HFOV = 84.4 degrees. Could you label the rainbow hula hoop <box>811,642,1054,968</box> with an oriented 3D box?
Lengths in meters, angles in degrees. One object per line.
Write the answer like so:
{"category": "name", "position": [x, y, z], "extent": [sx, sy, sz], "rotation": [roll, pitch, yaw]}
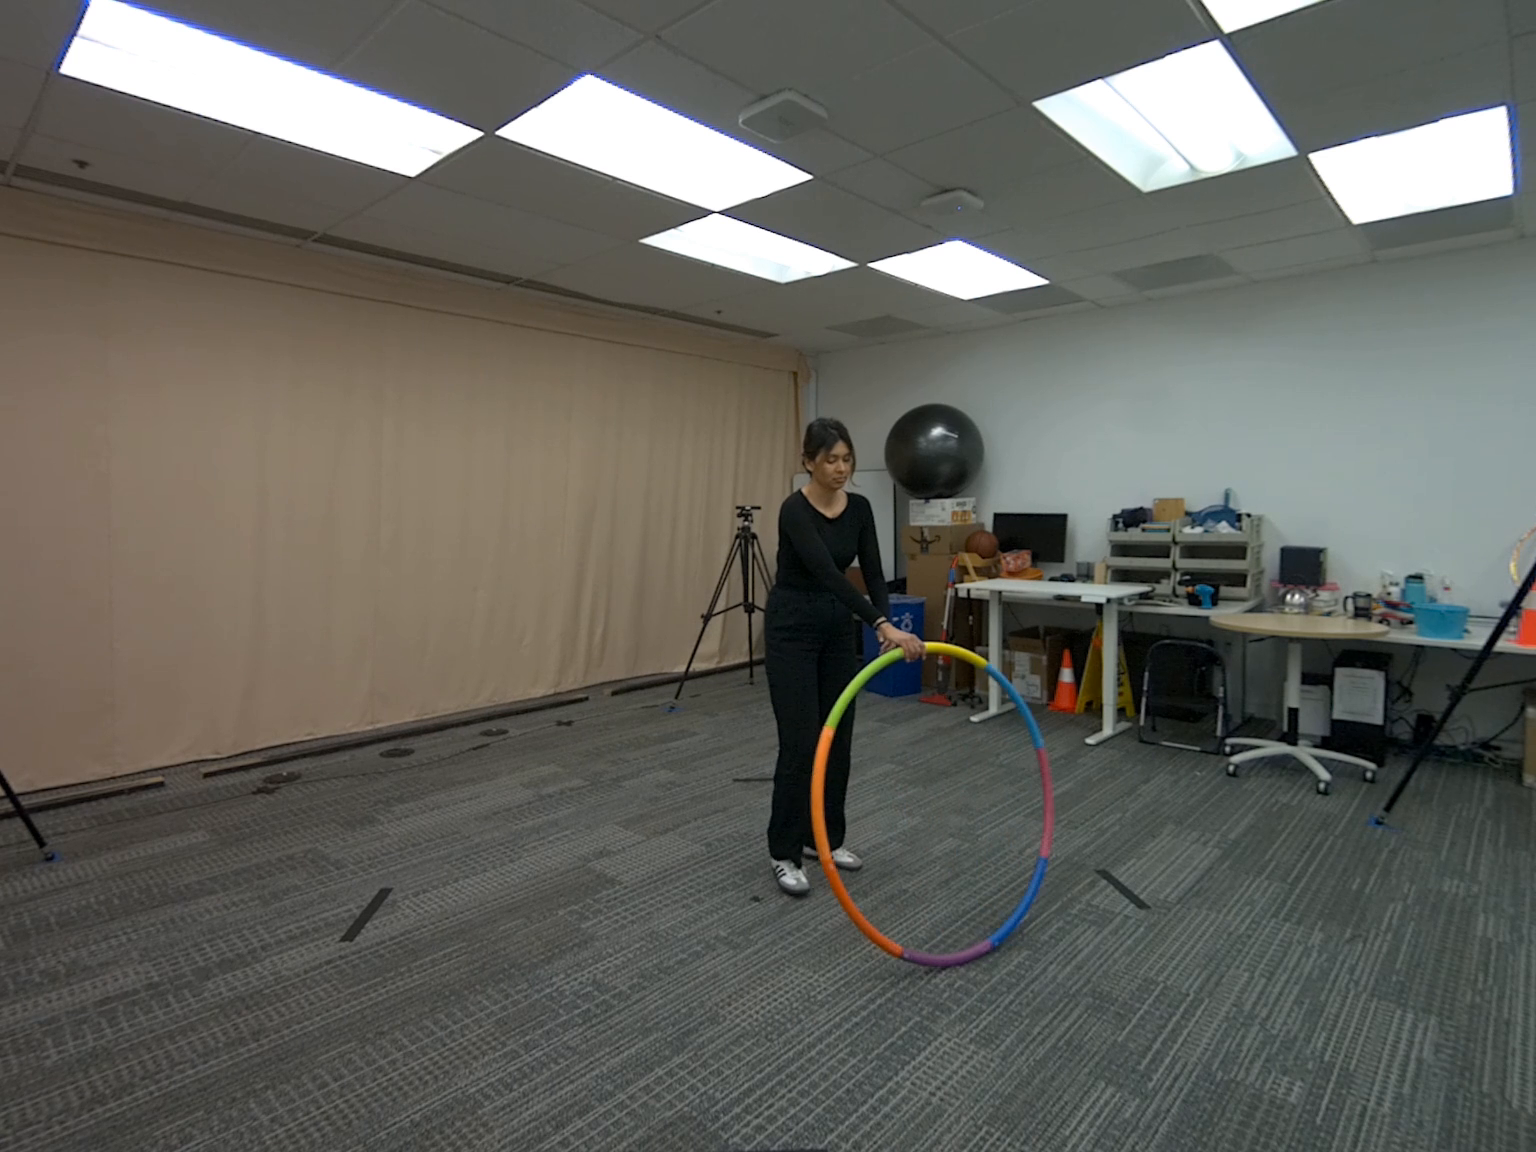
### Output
{"category": "rainbow hula hoop", "position": [0.564, 0.702, 2.652], "extent": [0.952, 0.985, 0.036], "rotation": [-2, -10, -31]}
